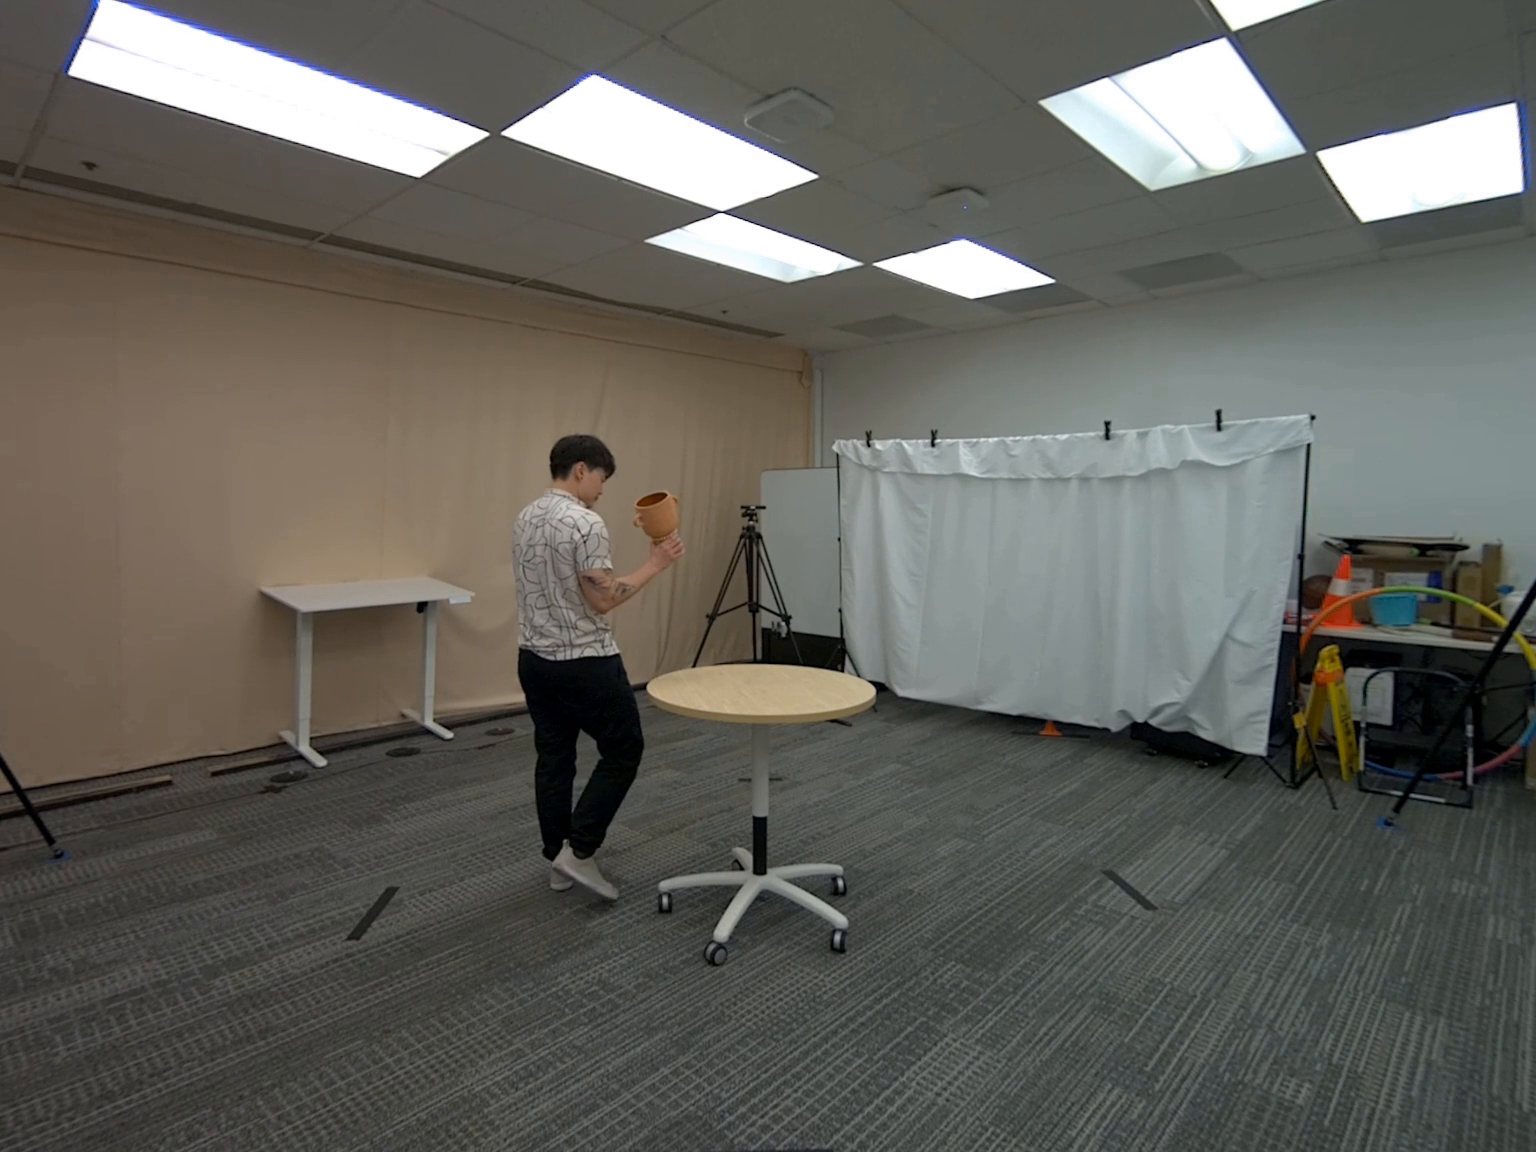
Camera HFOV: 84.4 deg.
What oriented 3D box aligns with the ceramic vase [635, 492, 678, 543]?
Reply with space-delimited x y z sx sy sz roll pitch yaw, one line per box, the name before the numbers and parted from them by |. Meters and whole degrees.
ceramic vase | -0.380 -0.180 3.026 0.160 0.215 0.136 -13 25 6
